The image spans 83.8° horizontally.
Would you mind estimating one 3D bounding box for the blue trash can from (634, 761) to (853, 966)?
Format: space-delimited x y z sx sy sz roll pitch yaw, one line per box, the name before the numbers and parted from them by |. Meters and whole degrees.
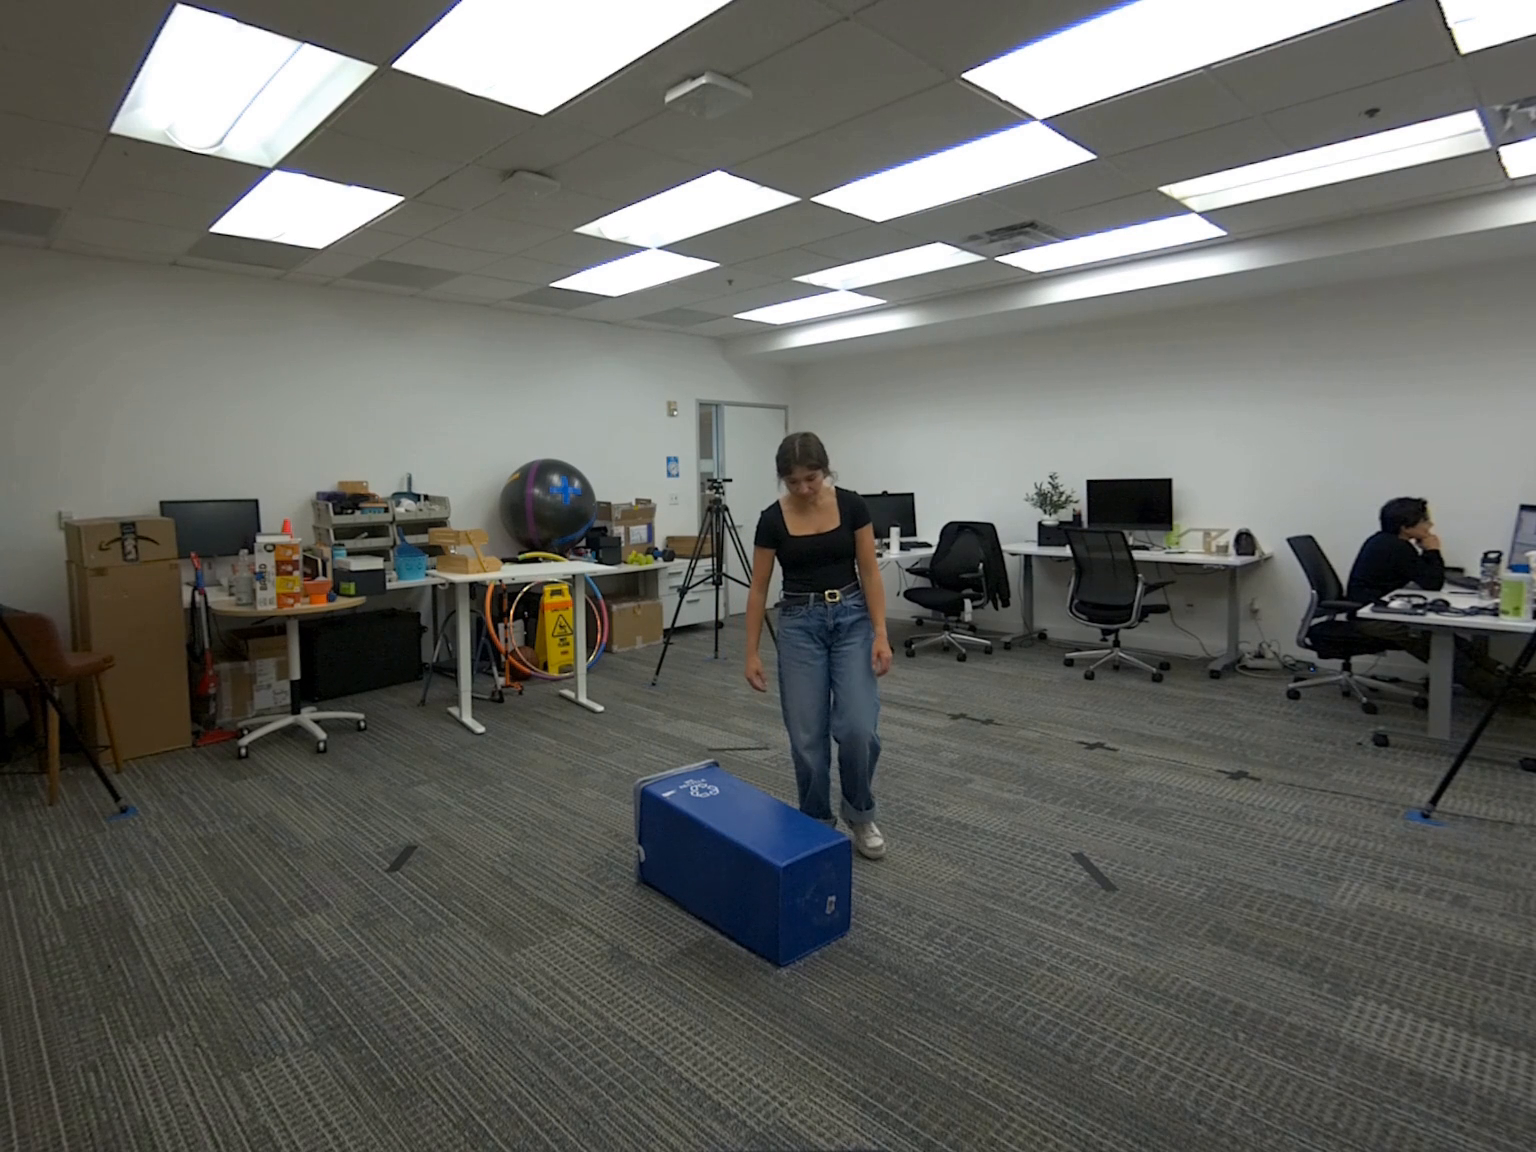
blue trash can | -0.087 0.916 2.788 0.364 0.376 0.737 -4 10 -40
